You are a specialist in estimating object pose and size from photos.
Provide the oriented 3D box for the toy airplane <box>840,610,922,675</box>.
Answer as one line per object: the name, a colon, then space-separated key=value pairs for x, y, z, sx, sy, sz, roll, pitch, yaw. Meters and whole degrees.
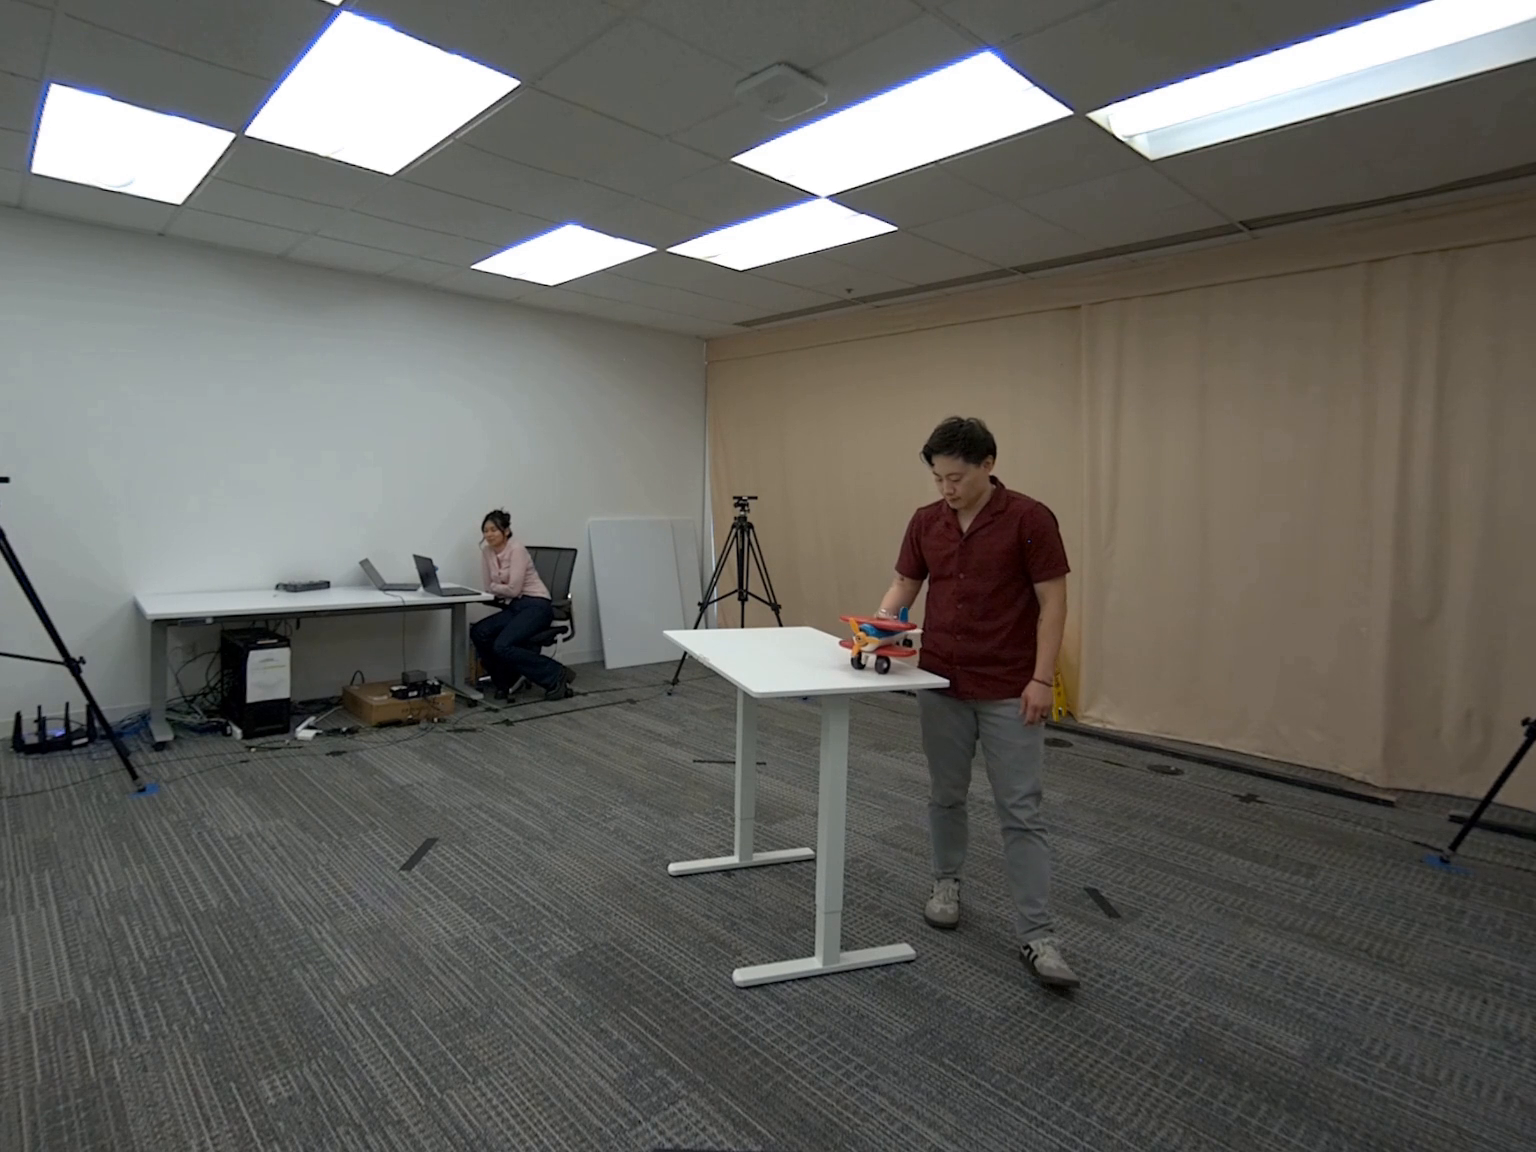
toy airplane: x=0.338 y=0.187 z=2.576 sx=0.254 sy=0.154 sz=0.259 roll=-3 pitch=17 yaw=17
